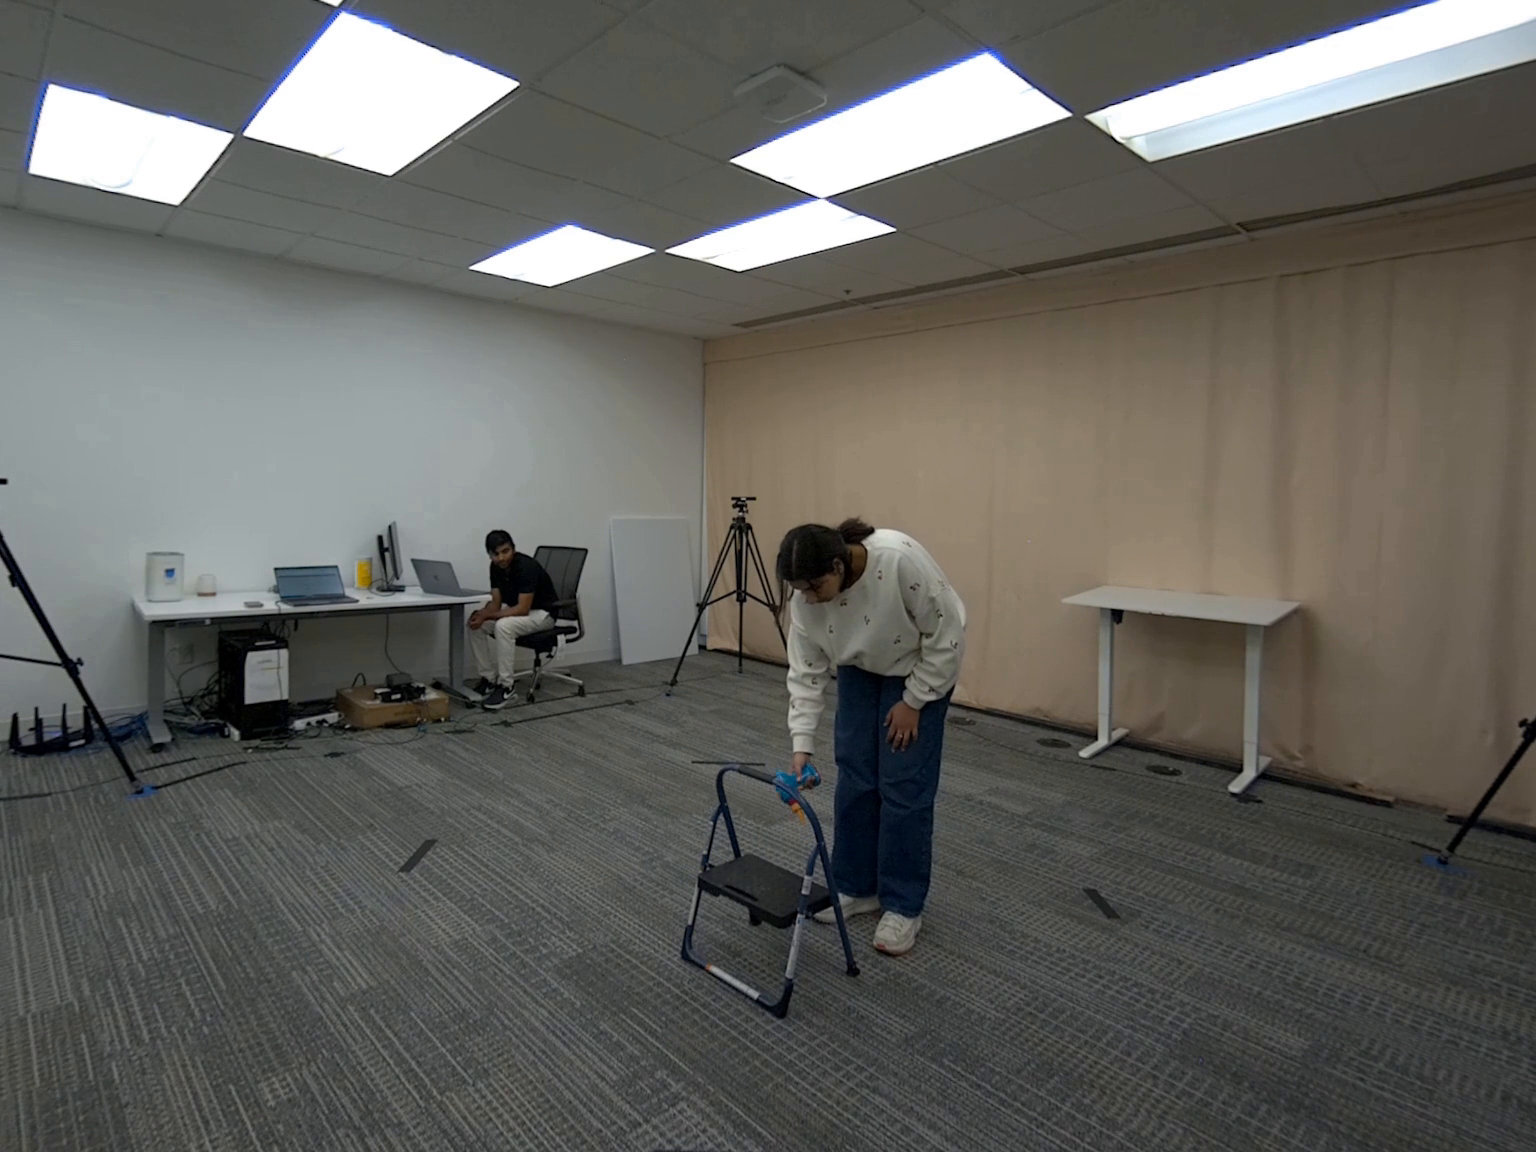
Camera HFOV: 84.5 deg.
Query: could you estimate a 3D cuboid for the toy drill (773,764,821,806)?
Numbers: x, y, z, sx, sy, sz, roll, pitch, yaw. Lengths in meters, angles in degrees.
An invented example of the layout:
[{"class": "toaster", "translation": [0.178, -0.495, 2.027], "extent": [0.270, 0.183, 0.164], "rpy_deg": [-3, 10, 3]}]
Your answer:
[{"class": "toy drill", "translation": [0.096, 0.660, 2.546], "extent": [0.144, 0.060, 0.175], "rpy_deg": [-14, 49, -29]}]
